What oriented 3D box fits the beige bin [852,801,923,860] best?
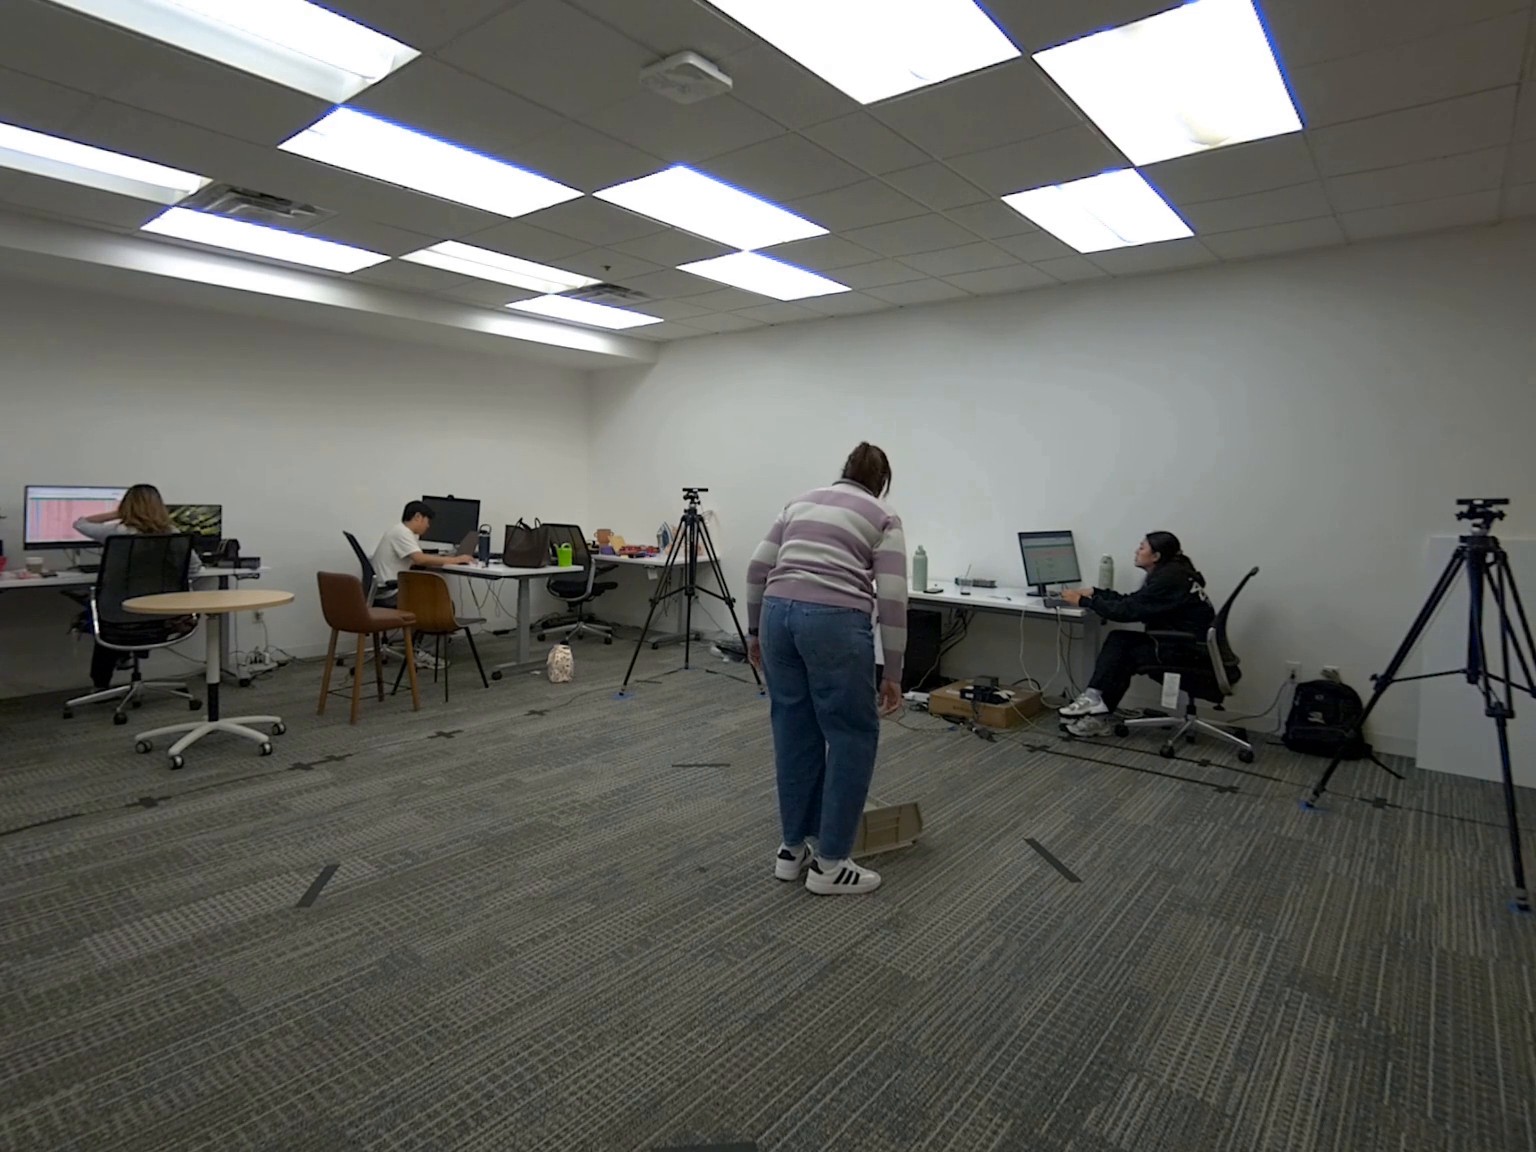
[{"bbox_3d":[0.342,0.957,3.473,0.367,0.188,0.436,-3,7,-32],"label":"beige bin"}]
